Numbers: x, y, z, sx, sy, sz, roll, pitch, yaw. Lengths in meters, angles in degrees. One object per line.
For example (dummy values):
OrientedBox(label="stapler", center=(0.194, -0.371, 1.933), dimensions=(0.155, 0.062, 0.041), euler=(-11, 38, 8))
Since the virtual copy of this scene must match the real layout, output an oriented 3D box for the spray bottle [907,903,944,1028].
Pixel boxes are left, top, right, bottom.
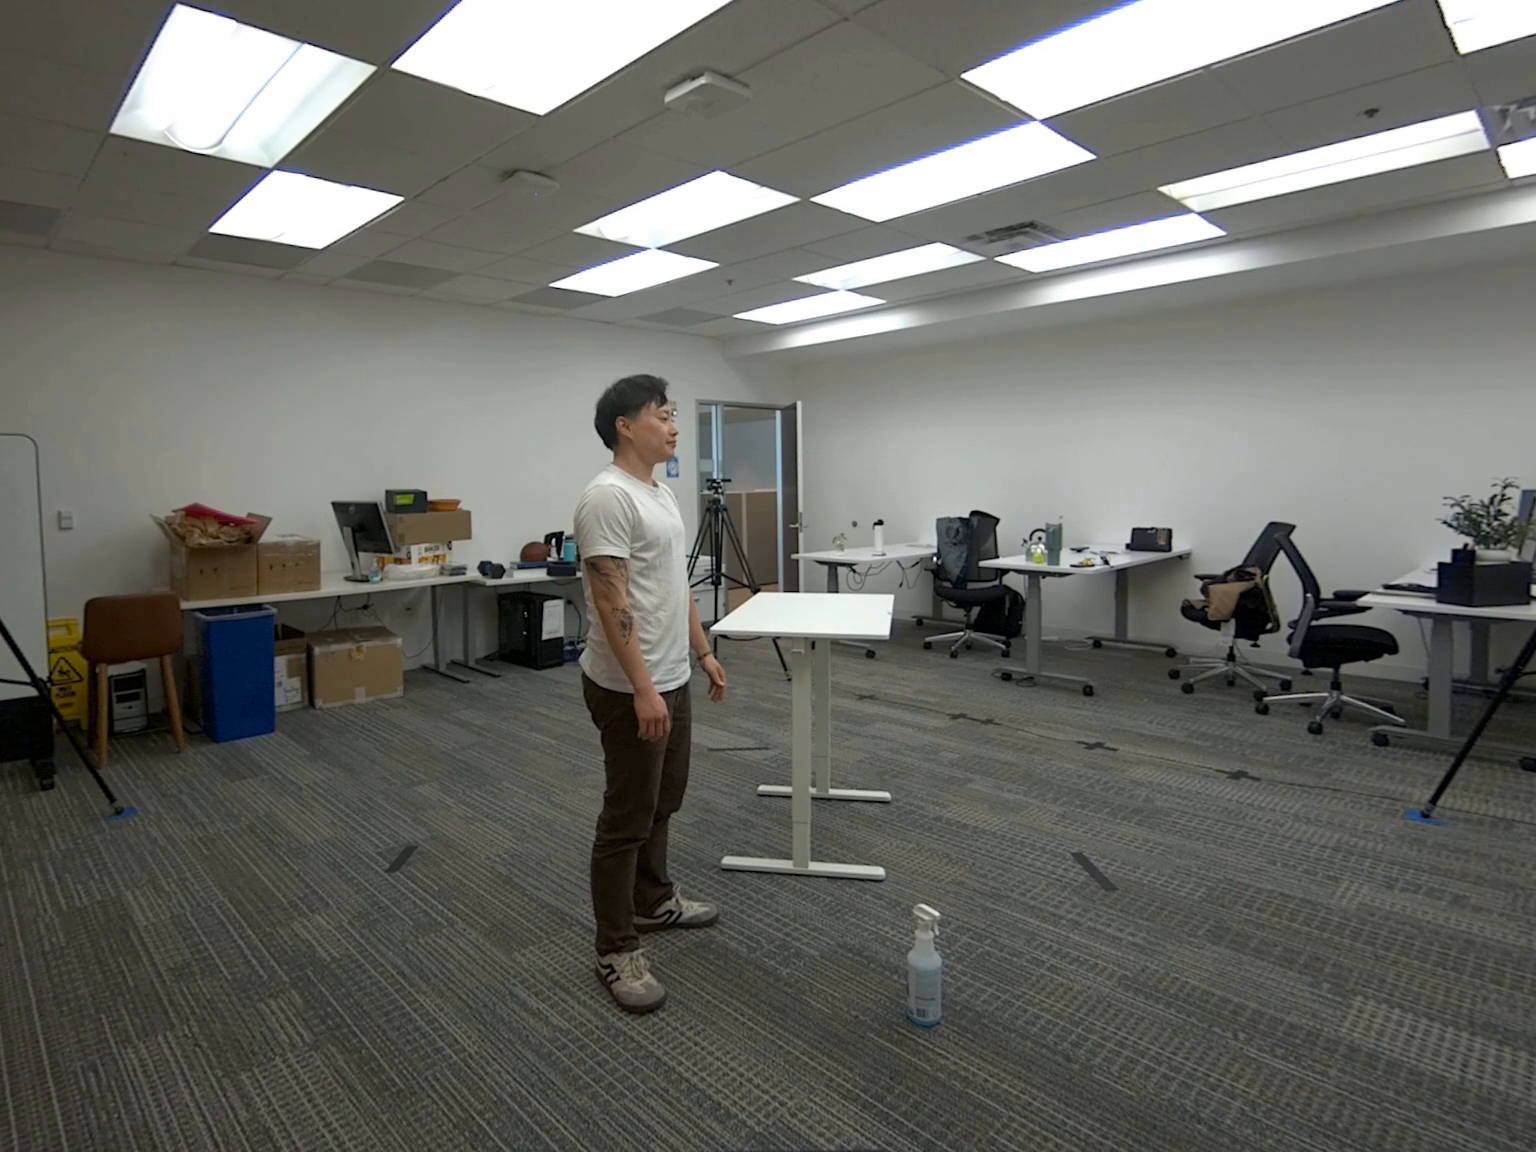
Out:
OrientedBox(label="spray bottle", center=(0.405, 0.994, 2.200), dimensions=(0.087, 0.296, 0.091), euler=(0, 5, -5))
